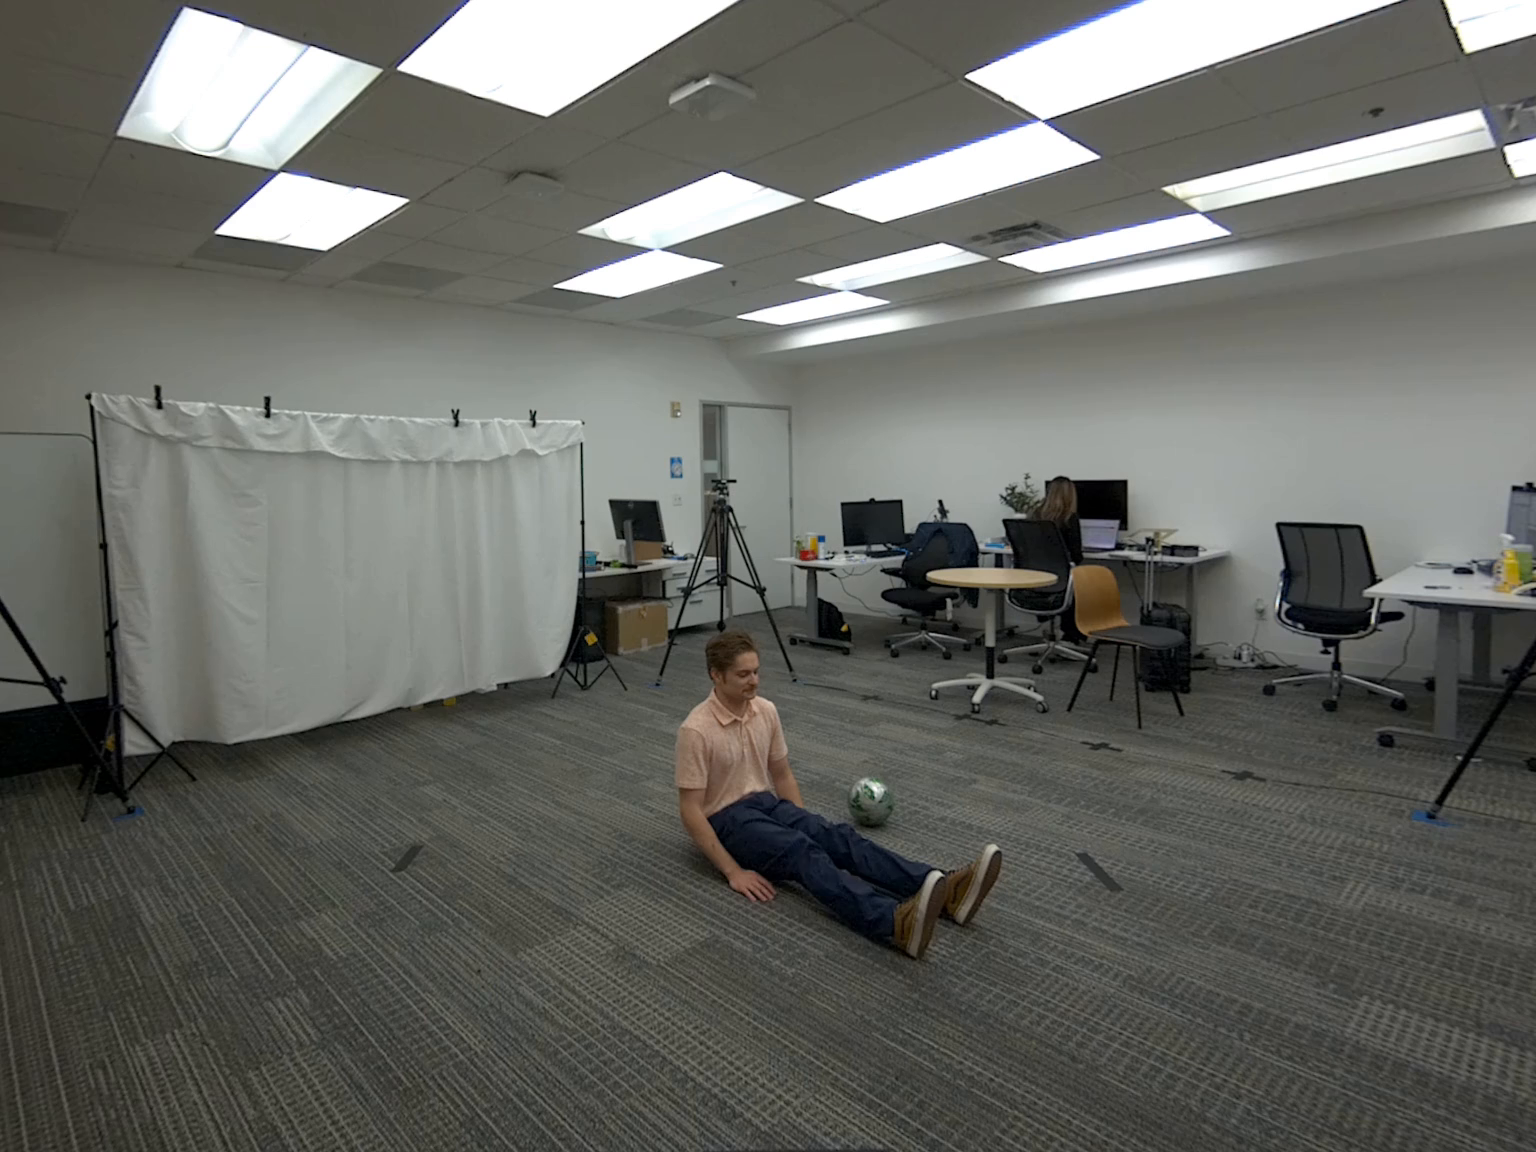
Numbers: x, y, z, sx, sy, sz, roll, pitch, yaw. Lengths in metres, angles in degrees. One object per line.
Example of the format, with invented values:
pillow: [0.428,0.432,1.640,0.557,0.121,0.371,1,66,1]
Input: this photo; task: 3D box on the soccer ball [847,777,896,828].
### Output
soccer ball: [0.410,0.904,3.448,0.187,0.187,0.188,-1,5,-2]
